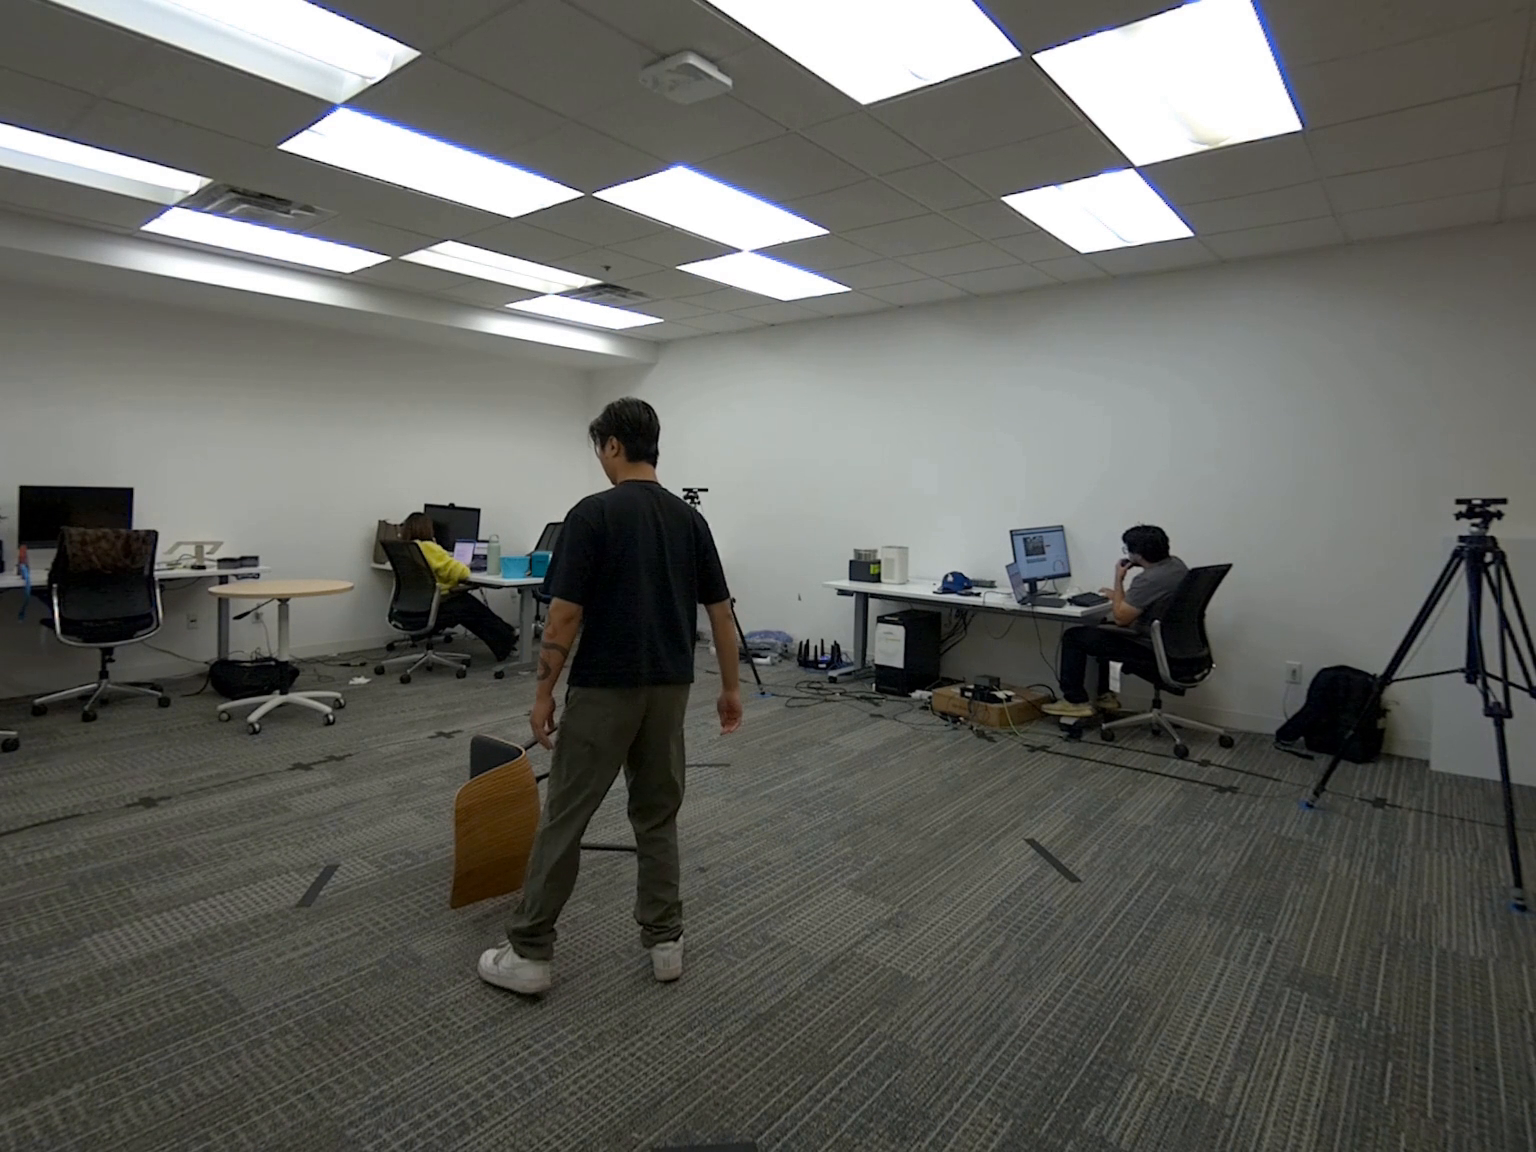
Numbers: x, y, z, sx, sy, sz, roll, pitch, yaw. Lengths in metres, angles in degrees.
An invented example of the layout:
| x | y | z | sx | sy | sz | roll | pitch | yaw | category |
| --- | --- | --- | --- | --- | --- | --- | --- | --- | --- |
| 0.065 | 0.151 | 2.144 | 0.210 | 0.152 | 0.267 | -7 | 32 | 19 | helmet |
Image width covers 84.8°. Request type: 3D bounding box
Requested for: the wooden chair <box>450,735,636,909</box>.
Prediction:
| x | y | z | sx | sy | sz | roll | pitch | yaw | category |
| --- | --- | --- | --- | --- | --- | --- | --- | --- | --- |
| -0.929 | 0.829 | 3.082 | 0.540 | 0.476 | 0.852 | 4 | 6 | 36 | wooden chair |
